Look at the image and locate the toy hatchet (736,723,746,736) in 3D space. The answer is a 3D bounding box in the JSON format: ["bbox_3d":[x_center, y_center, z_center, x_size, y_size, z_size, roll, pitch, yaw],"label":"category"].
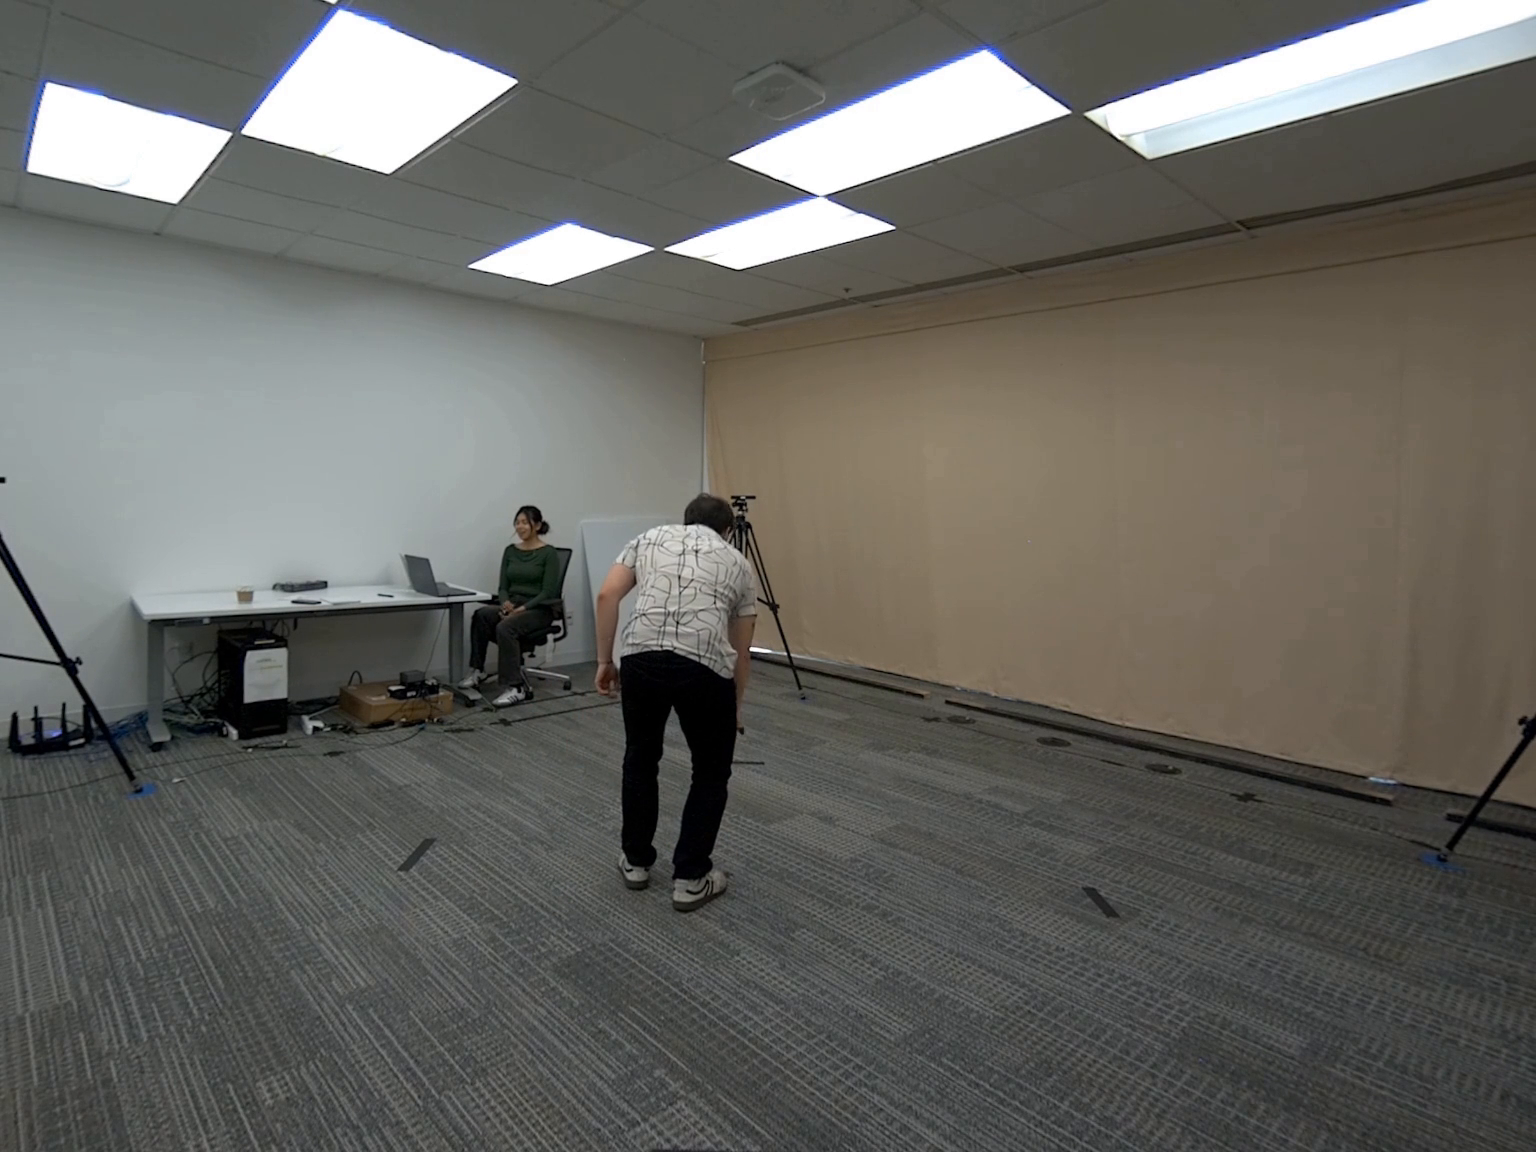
[{"bbox_3d":[-0.171,0.610,3.269,0.029,0.129,0.277,-26,23,-27],"label":"toy hatchet"}]
